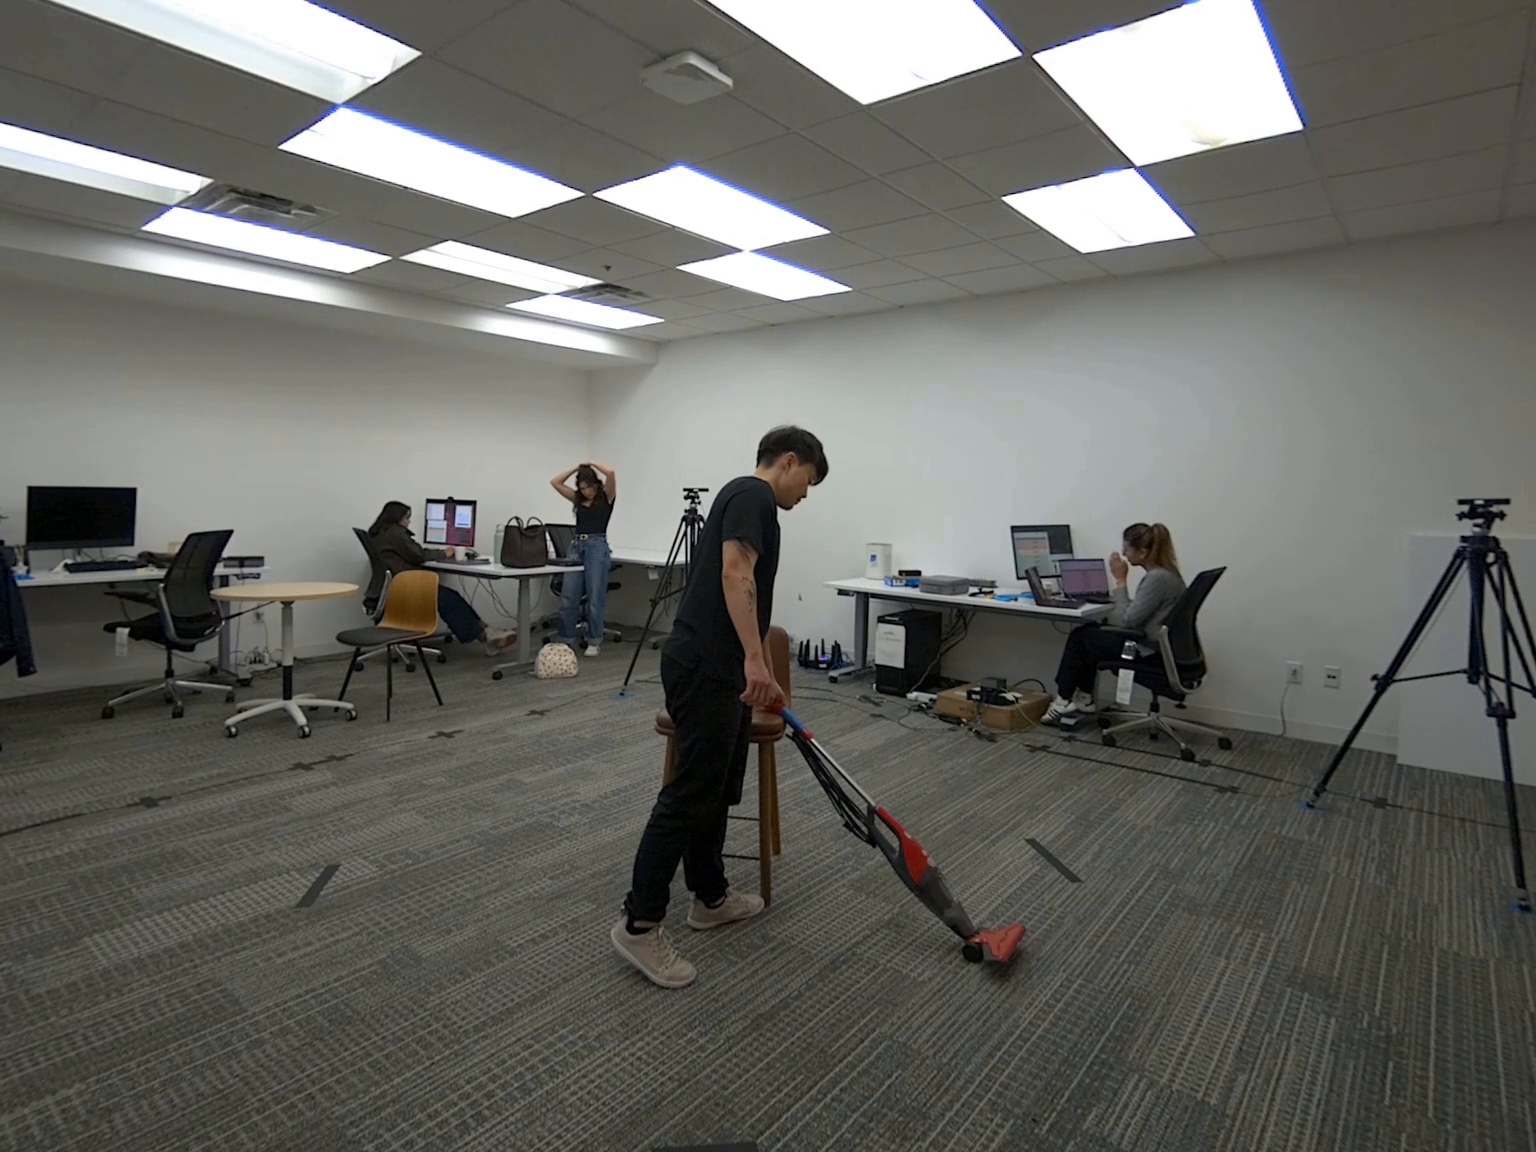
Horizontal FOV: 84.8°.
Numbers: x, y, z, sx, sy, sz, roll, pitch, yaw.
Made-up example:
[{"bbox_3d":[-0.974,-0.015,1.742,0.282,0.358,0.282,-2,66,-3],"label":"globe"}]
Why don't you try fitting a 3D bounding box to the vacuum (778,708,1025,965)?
[{"bbox_3d":[0.328,0.788,2.778,1.084,0.143,0.245,42,19,25],"label":"vacuum"}]
